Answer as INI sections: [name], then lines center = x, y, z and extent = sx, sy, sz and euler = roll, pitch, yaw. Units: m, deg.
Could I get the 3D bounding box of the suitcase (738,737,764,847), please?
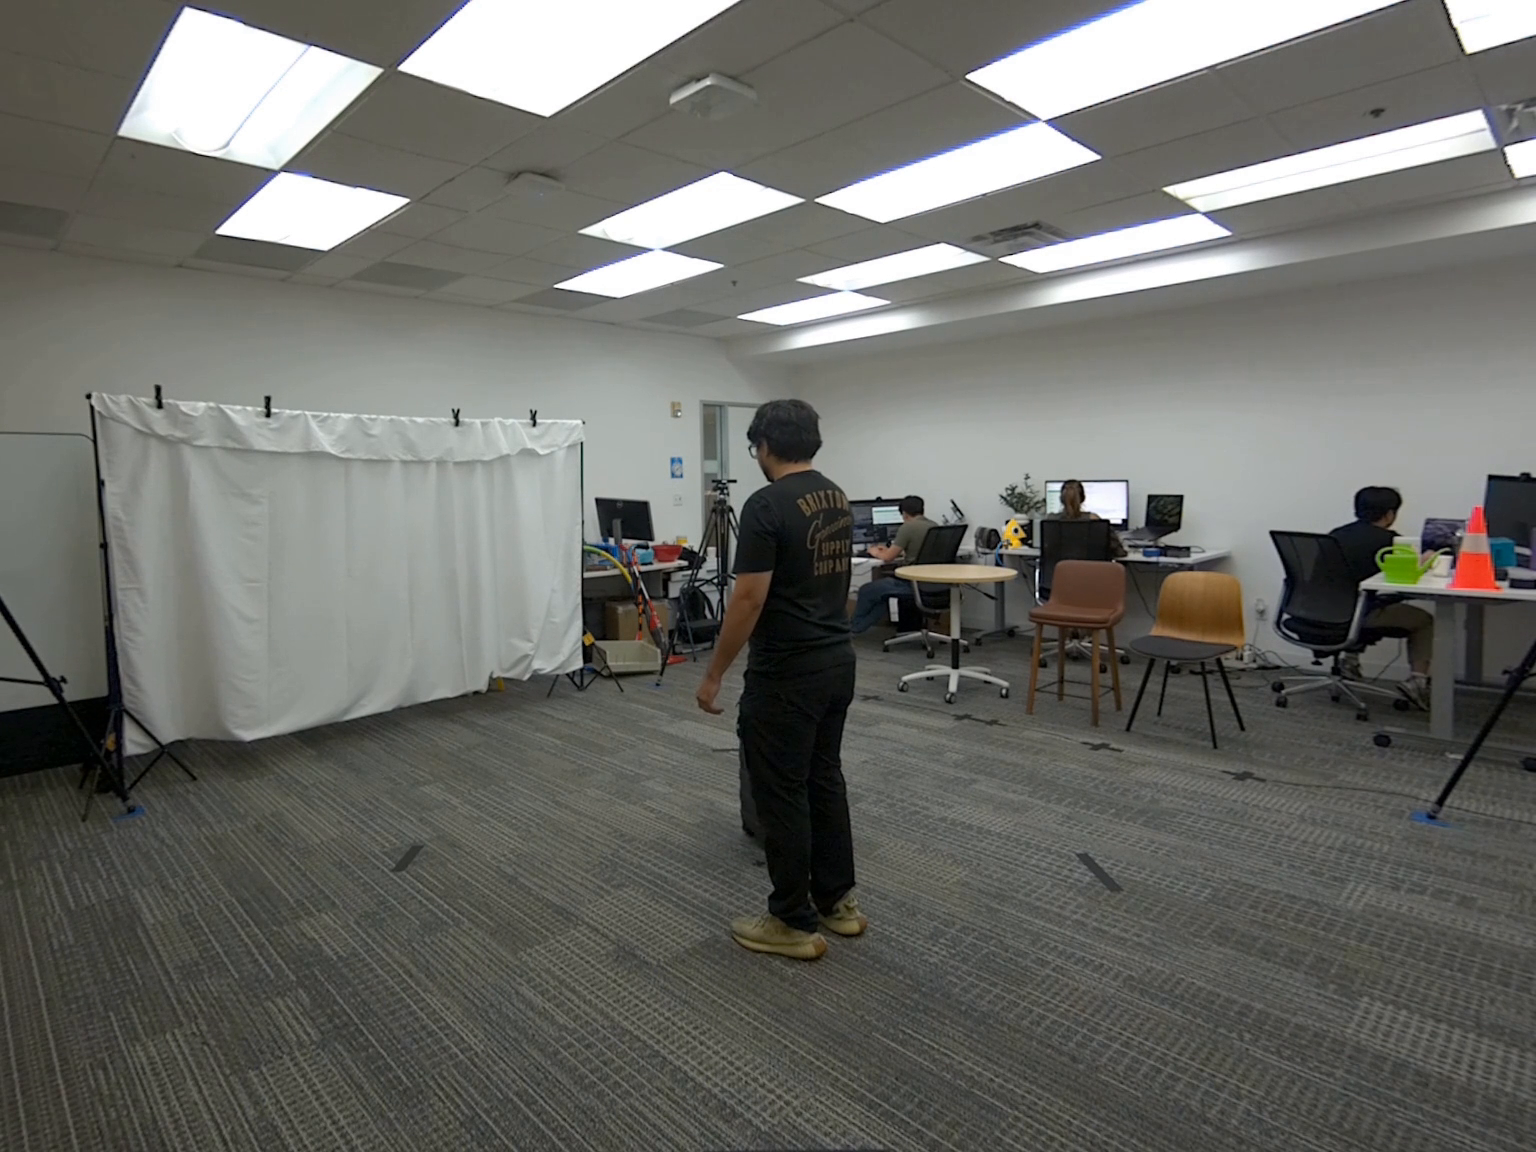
[suitcase]
center = 0.070, 0.555, 3.248
extent = 0.252, 0.975, 0.393
euler = -1, 5, -23
